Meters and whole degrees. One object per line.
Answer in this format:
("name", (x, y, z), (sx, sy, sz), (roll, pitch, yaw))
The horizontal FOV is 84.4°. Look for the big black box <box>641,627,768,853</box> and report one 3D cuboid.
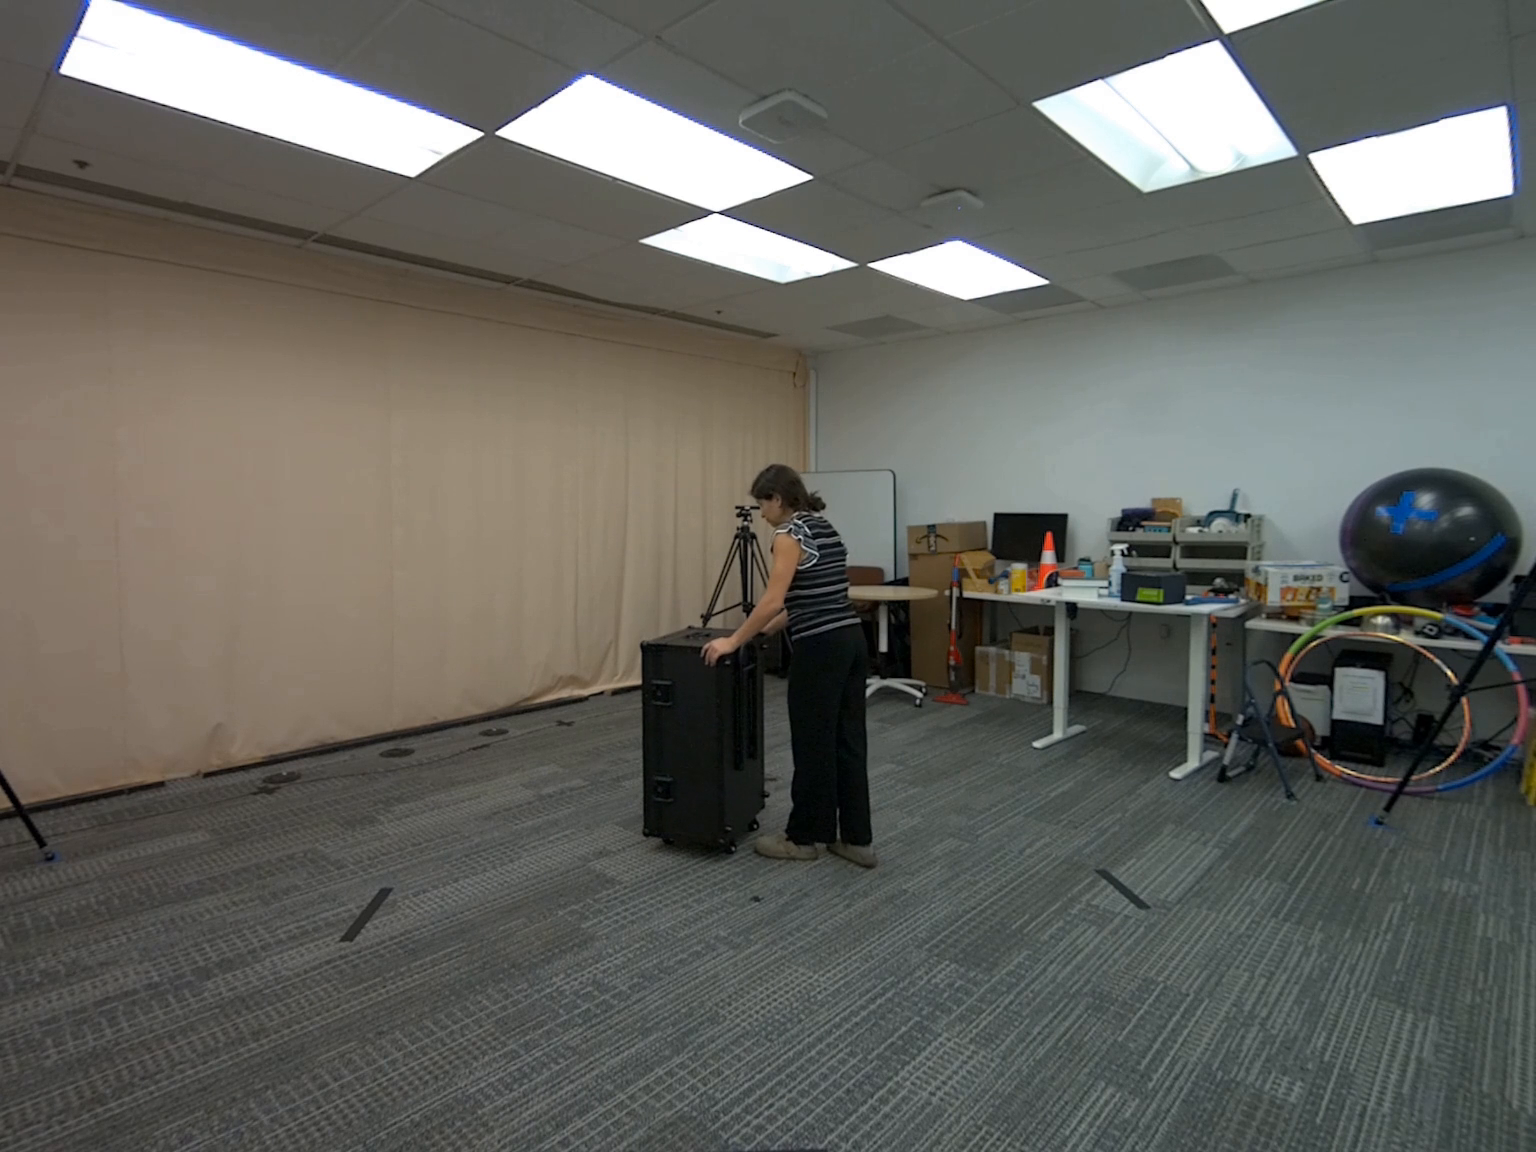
("big black box", (-0.245, 0.676, 3.529), (0.405, 0.860, 0.511), (2, 3, 21))
